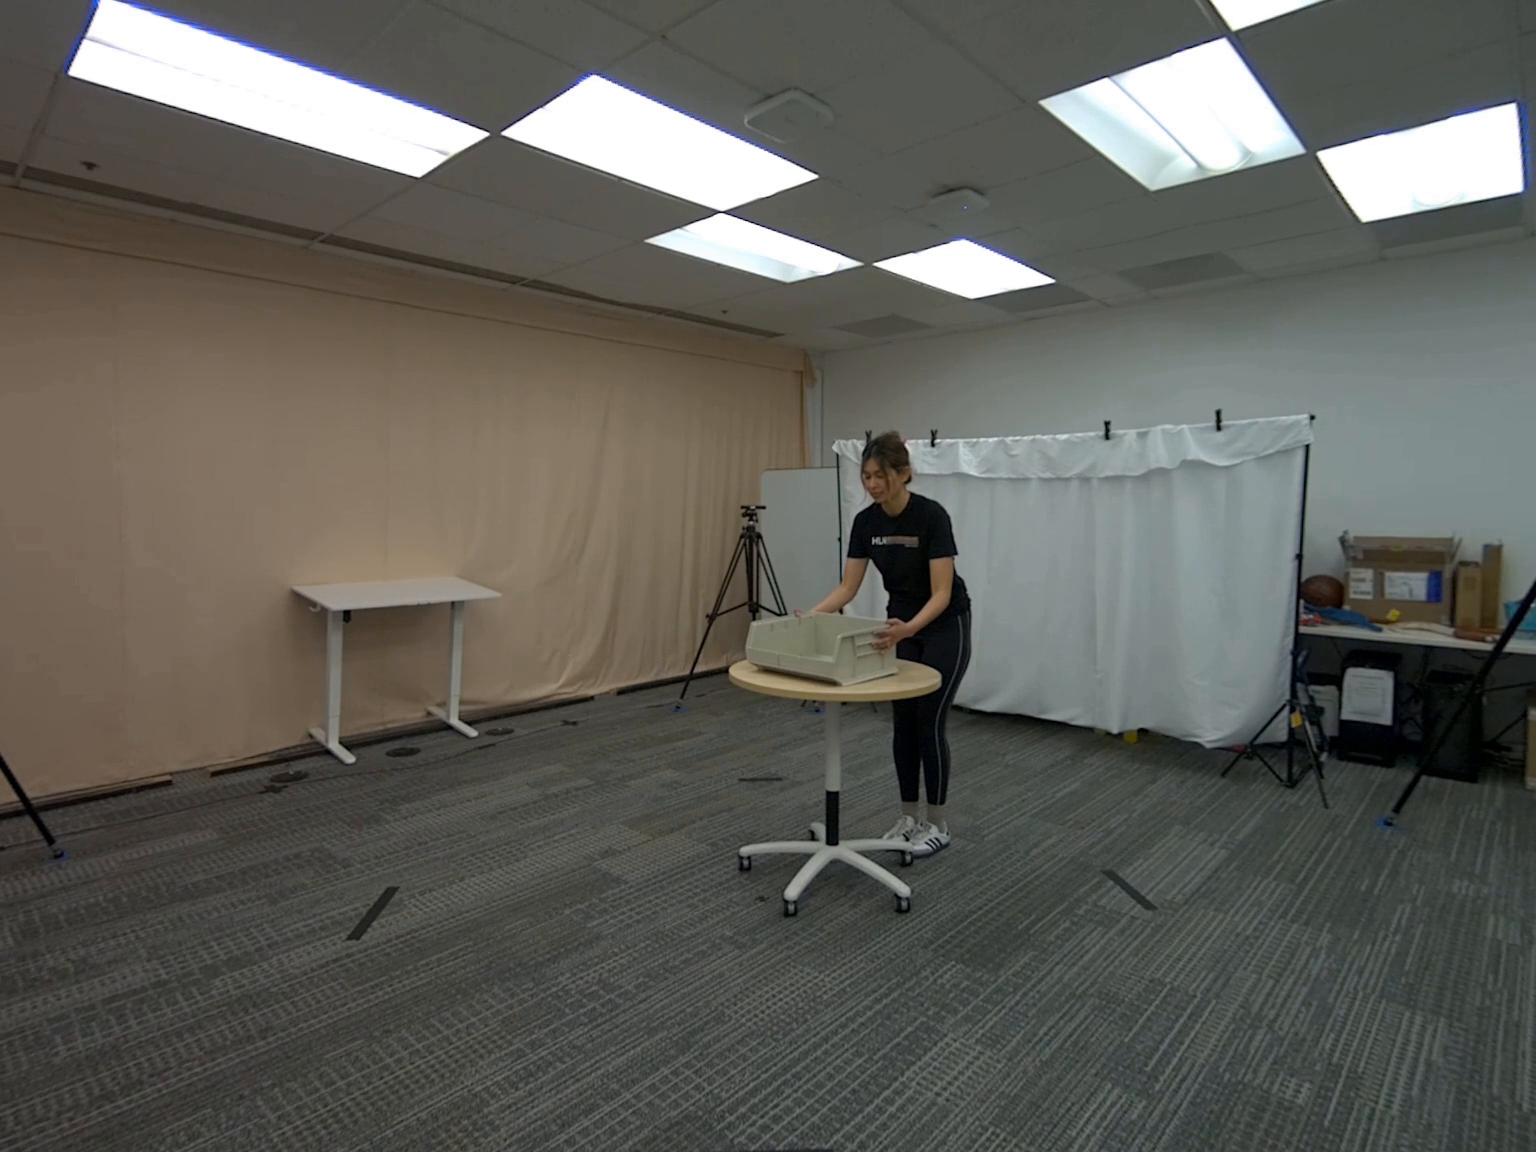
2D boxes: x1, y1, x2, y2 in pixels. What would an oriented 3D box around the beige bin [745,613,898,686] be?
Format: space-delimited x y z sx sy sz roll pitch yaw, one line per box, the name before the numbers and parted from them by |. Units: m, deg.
beige bin | 0.202 0.259 3.039 0.366 0.188 0.436 -4 6 -44
